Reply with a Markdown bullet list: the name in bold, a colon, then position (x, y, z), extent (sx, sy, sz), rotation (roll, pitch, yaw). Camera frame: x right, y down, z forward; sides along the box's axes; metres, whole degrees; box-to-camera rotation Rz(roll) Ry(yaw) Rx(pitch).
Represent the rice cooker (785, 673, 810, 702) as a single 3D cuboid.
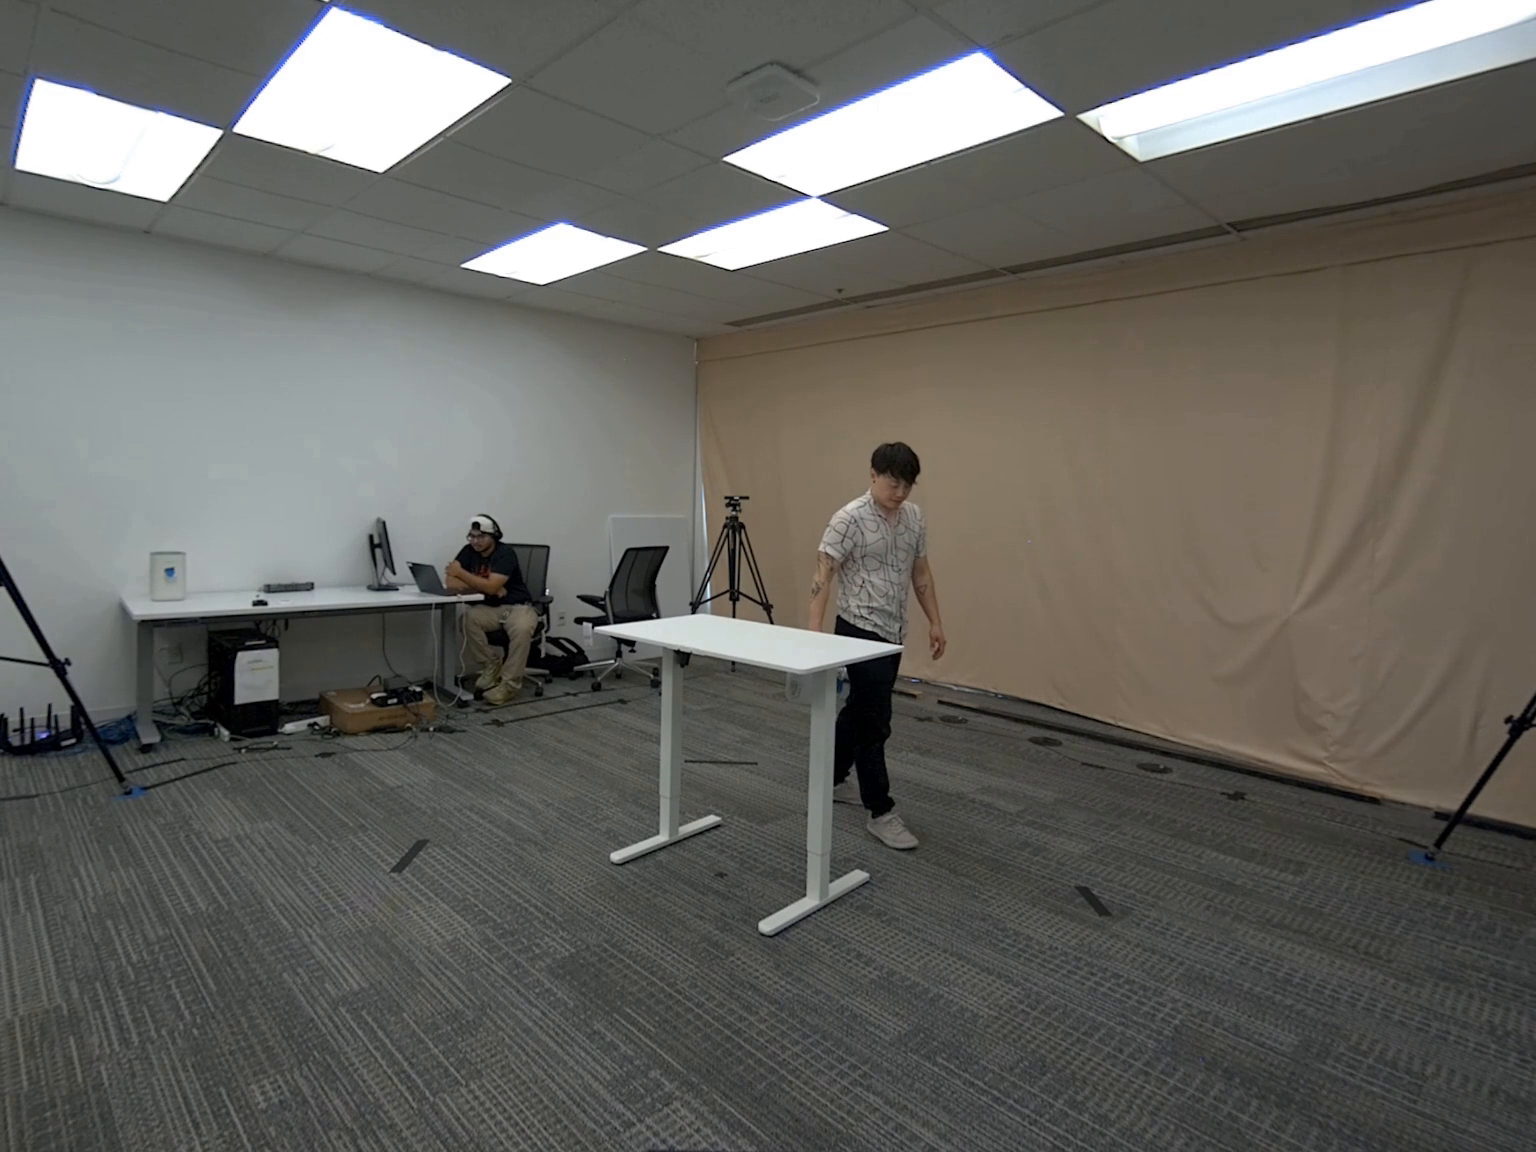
- **rice cooker**: position (0.186, 0.416, 3.509), extent (0.227, 0.231, 0.212), rotation (14, 12, 43)
